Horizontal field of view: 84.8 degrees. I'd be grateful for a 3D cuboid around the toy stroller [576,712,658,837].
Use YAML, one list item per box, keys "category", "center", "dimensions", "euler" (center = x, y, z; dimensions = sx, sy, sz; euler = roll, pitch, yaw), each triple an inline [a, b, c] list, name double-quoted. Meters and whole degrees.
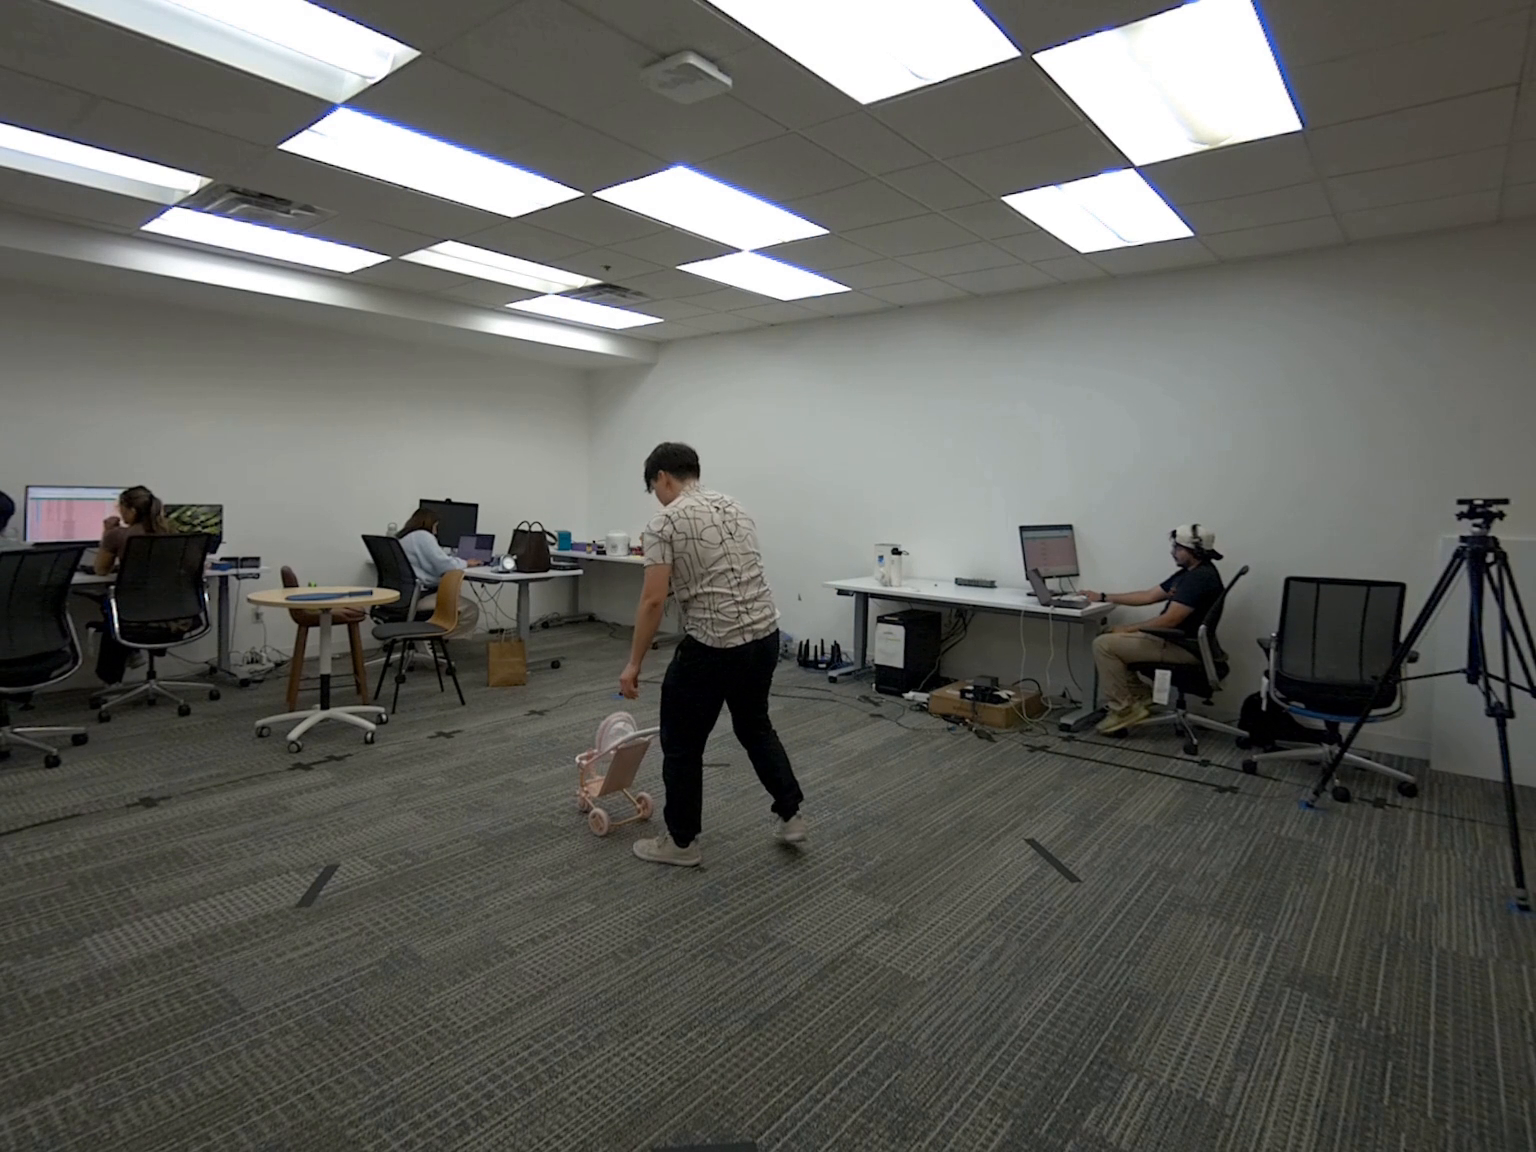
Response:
- category: "toy stroller"
  center: [-0.655, 0.796, 3.522]
  dimensions: [0.273, 0.530, 0.355]
  euler: [-1, 20, -46]
